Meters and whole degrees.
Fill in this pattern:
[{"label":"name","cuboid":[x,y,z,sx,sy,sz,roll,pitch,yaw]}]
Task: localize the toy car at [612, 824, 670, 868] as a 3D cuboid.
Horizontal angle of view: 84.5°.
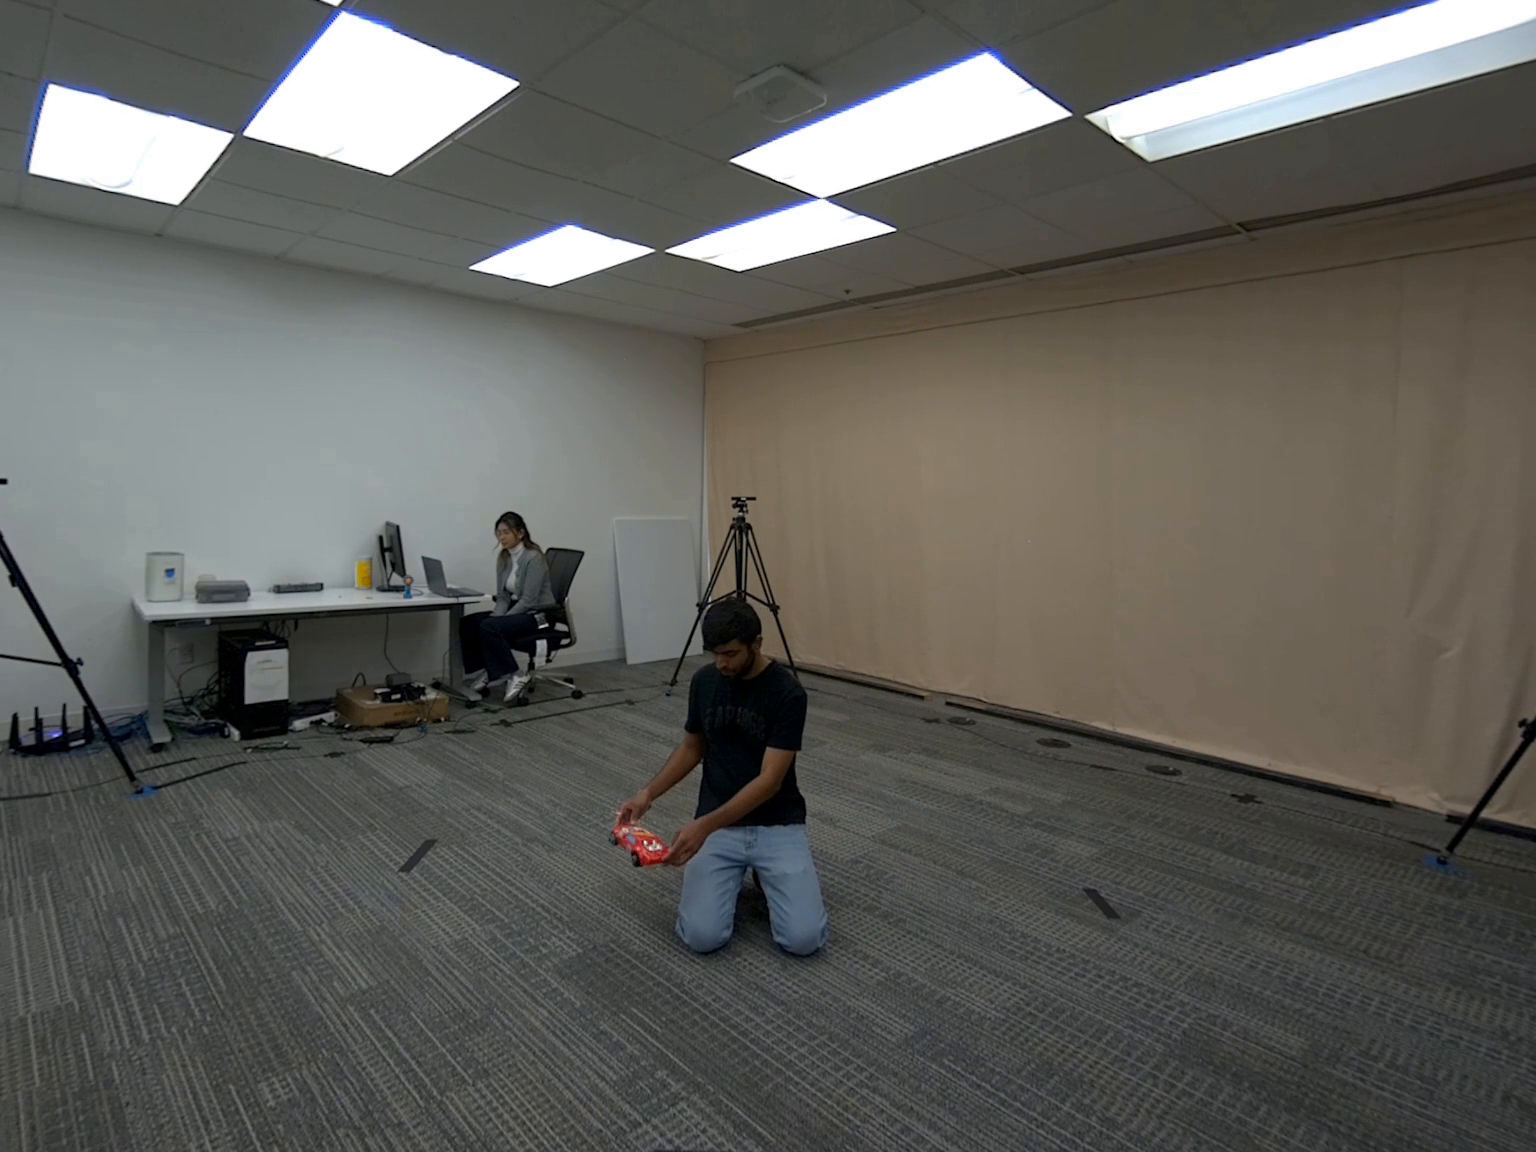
[{"label":"toy car","cuboid":[-0.402,0.854,2.662,0.127,0.083,0.260,-1,1,-38]}]
